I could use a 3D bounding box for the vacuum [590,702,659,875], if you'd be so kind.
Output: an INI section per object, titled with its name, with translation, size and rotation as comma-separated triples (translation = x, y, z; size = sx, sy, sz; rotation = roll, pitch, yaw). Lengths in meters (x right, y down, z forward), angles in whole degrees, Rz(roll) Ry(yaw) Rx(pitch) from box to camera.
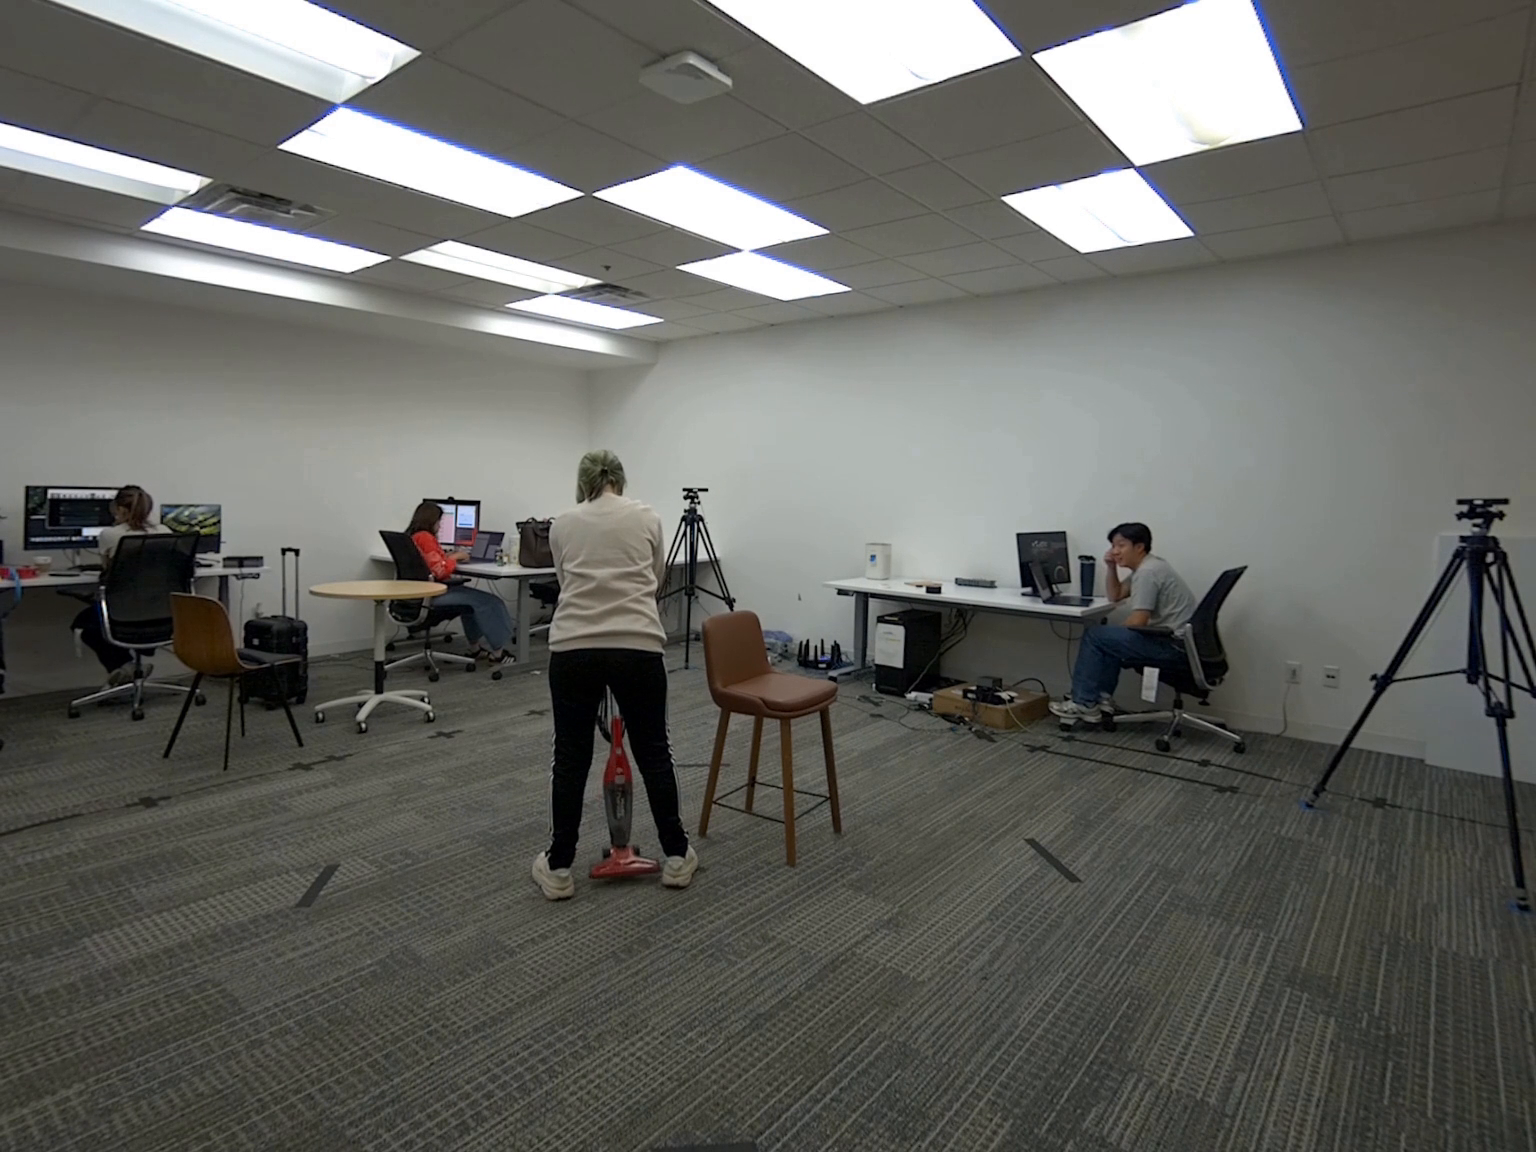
[vacuum]
translation = -0.602, 0.551, 3.270
size = 0.247, 1.077, 0.143
rotation = 1, -28, -22
